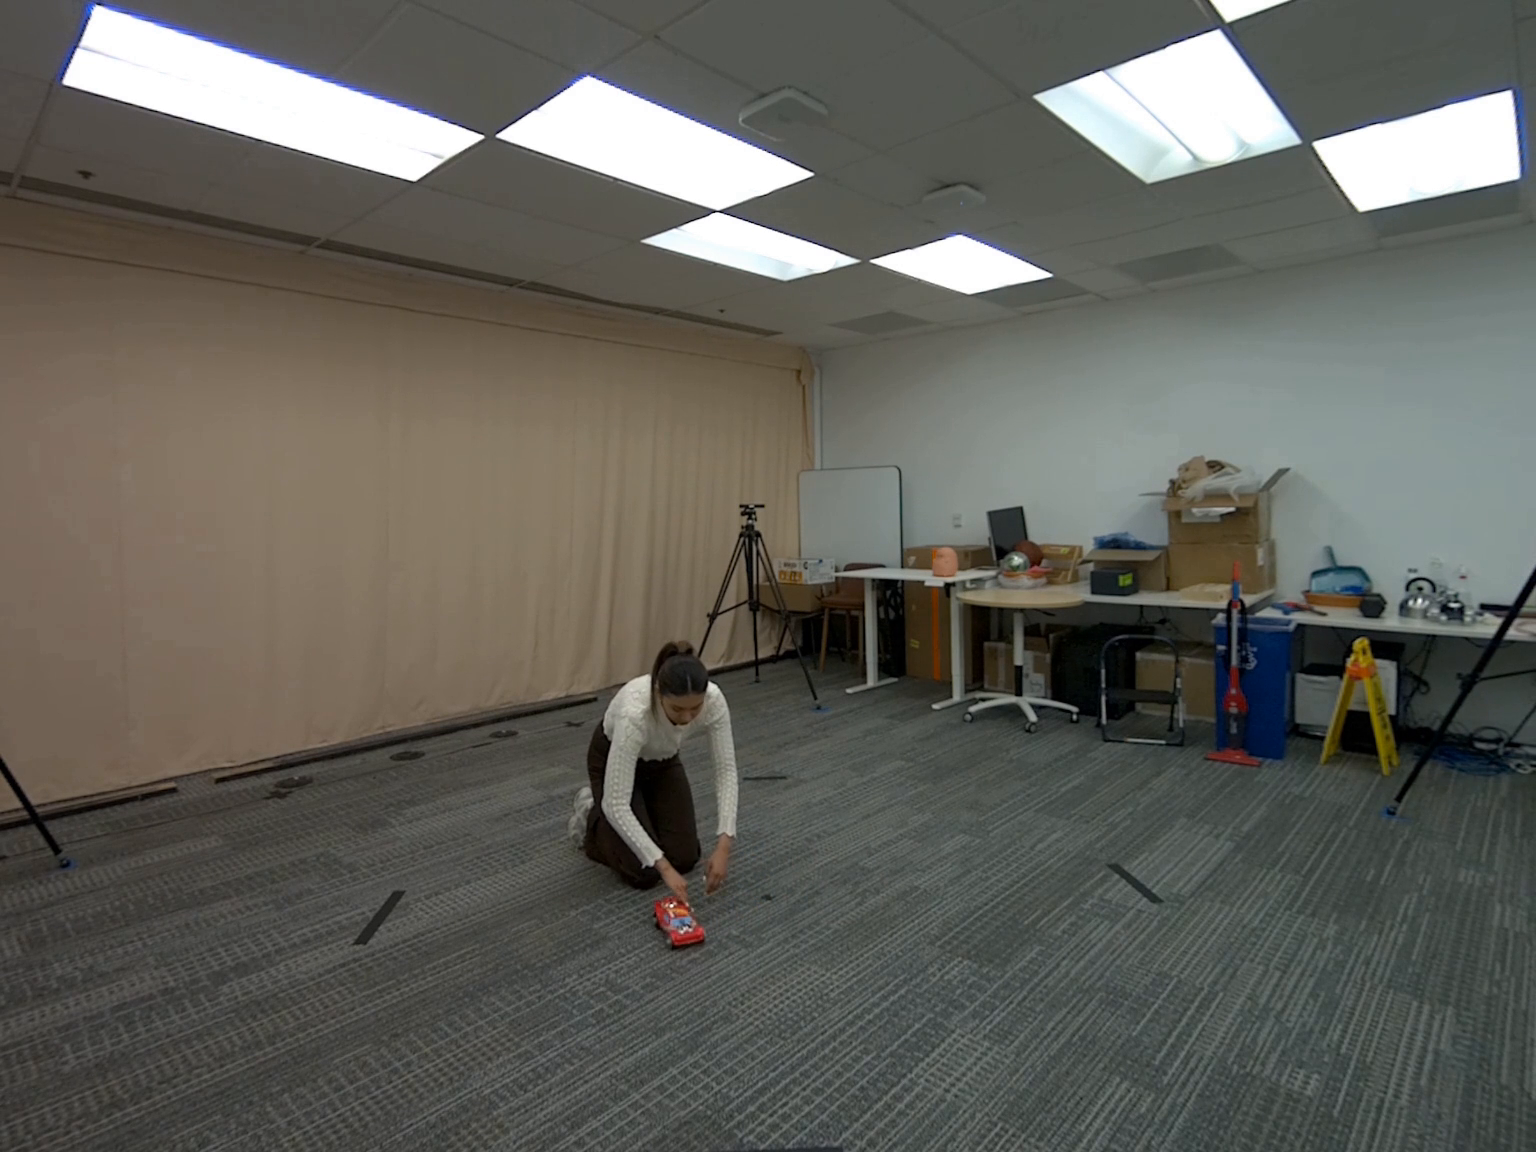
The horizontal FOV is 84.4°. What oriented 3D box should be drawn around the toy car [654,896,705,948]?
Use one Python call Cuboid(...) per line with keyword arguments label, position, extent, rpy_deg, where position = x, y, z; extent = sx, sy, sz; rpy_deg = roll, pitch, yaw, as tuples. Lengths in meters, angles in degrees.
Cuboid(label="toy car", position=(-0.297, 1.129, 2.755), extent=(0.128, 0.082, 0.261), rpy_deg=(-4, 15, -20))
